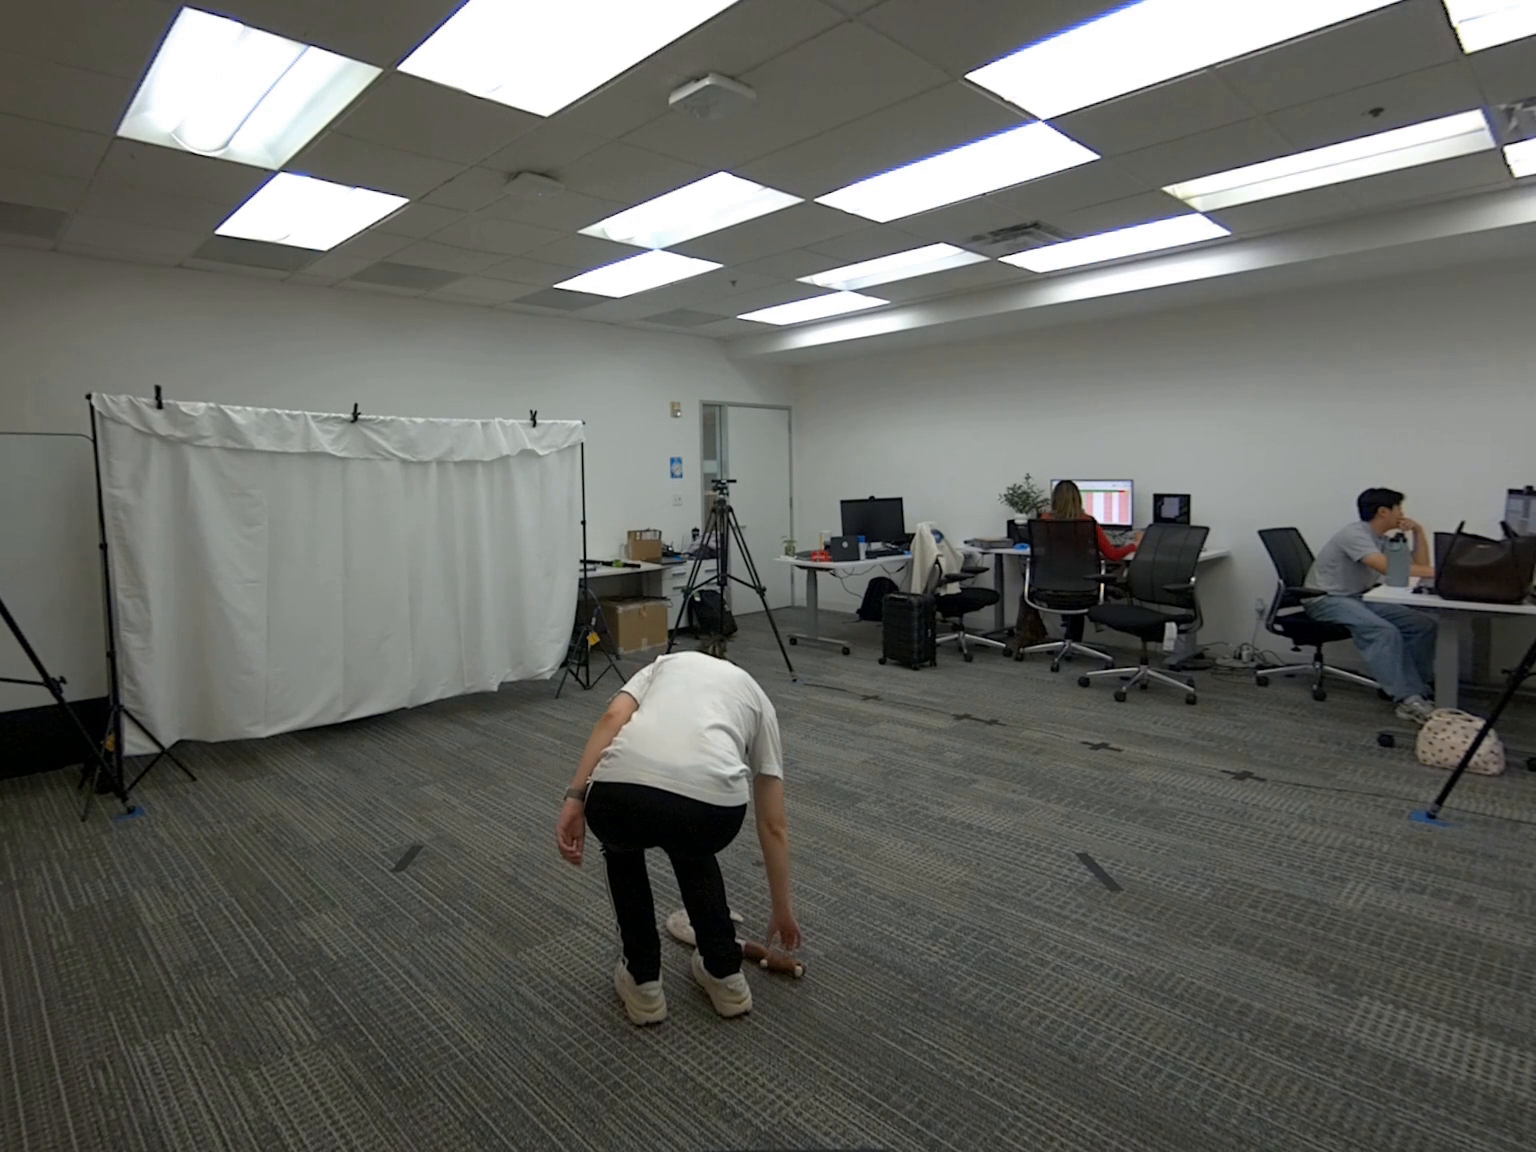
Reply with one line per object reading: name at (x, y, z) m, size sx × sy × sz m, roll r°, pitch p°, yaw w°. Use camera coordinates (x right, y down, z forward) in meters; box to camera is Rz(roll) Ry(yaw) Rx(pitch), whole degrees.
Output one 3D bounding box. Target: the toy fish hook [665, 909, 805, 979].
toy fish hook at (-0.079, 1.089, 2.576) m, size 0.521 × 0.048 × 0.219 m, roll 4°, pitch 11°, yaw 36°
